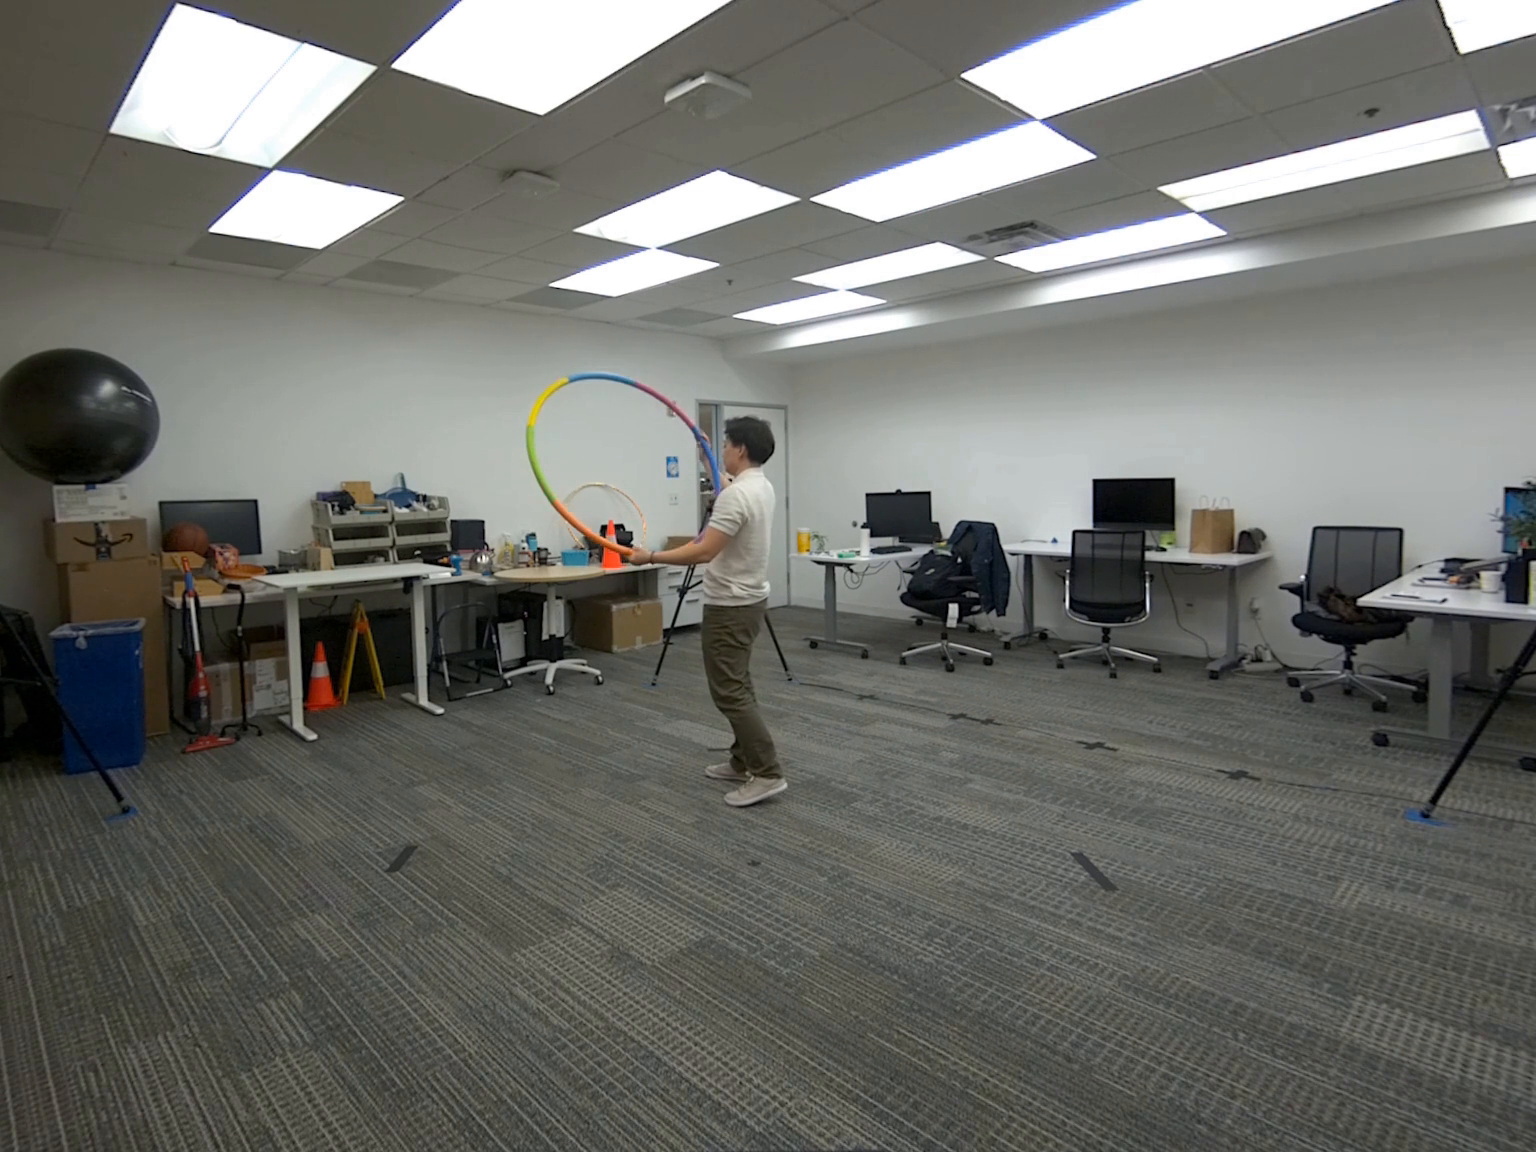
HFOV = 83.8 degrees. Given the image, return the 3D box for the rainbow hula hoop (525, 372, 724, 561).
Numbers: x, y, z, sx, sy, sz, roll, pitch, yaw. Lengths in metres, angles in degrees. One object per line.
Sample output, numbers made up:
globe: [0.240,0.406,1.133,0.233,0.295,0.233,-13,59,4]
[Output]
rainbow hula hoop: [-0.630,-0.517,3.898,0.953,1.000,0.036,-5,-24,-39]
